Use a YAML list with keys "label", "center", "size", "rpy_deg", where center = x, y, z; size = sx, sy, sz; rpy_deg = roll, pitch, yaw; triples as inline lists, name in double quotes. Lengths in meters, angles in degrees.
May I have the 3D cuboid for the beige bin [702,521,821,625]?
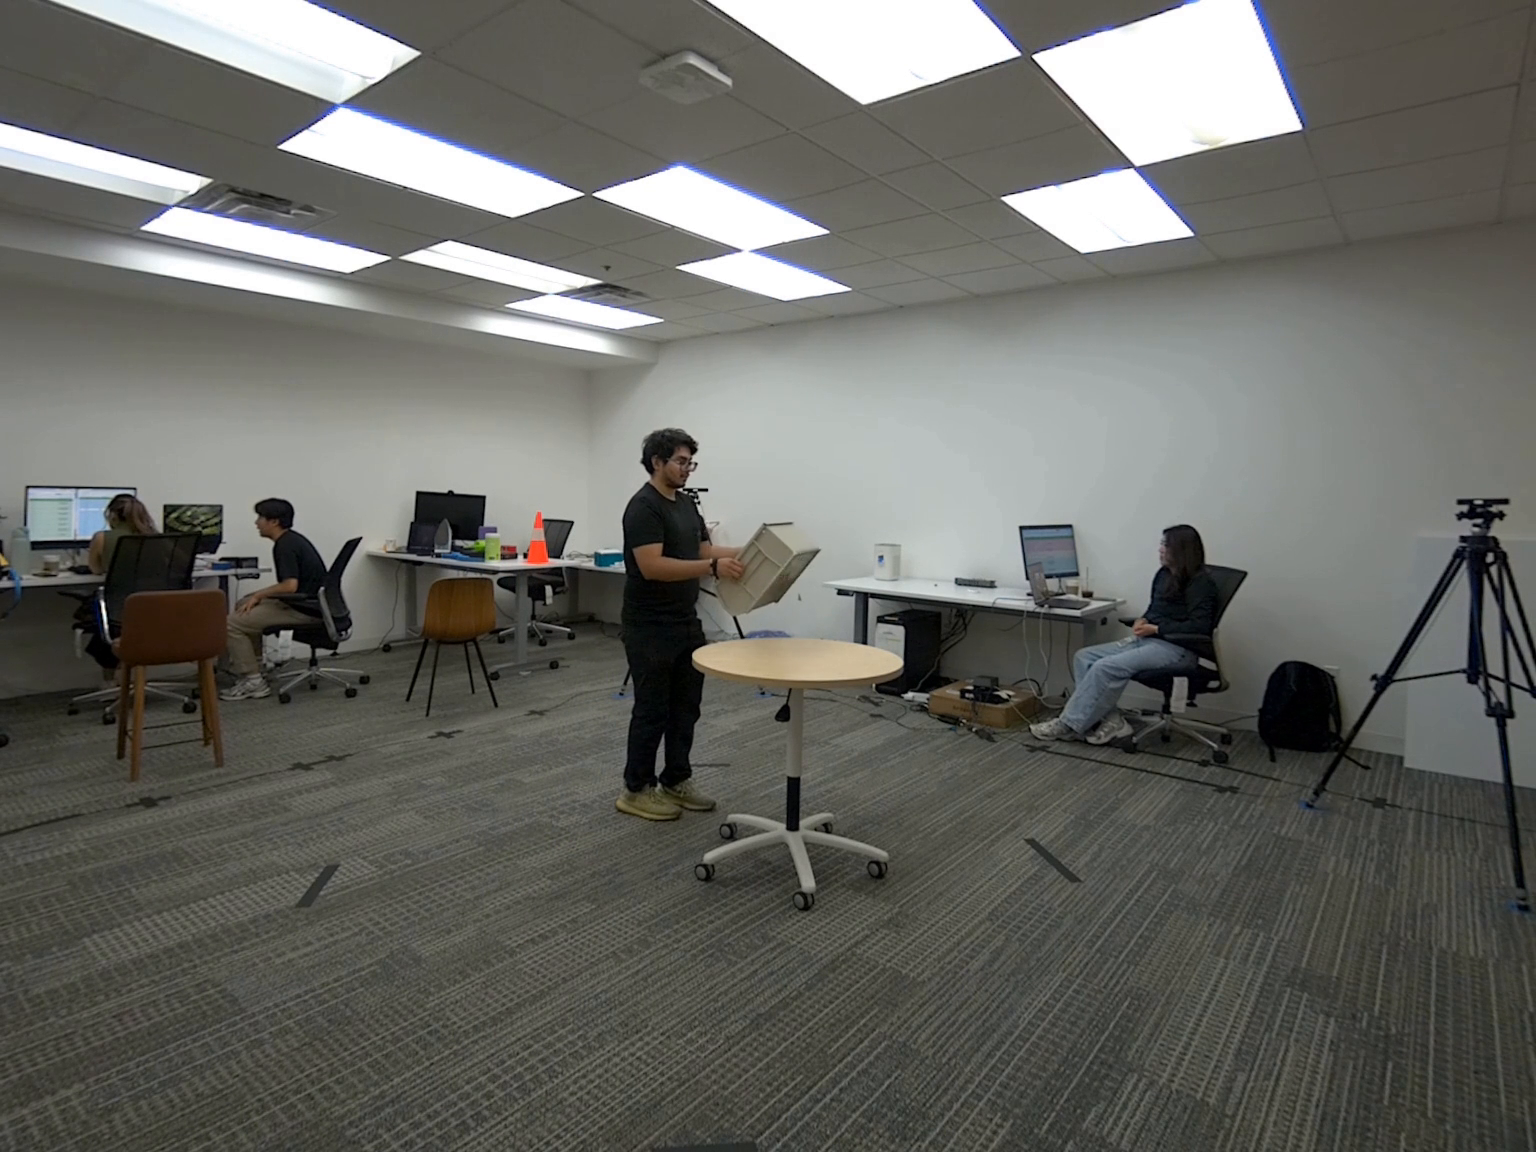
- label: "beige bin"
  center: [-0.020, -0.025, 3.553]
  size: [0.192, 0.377, 0.415]
  rpy_deg: [43, 15, 10]
